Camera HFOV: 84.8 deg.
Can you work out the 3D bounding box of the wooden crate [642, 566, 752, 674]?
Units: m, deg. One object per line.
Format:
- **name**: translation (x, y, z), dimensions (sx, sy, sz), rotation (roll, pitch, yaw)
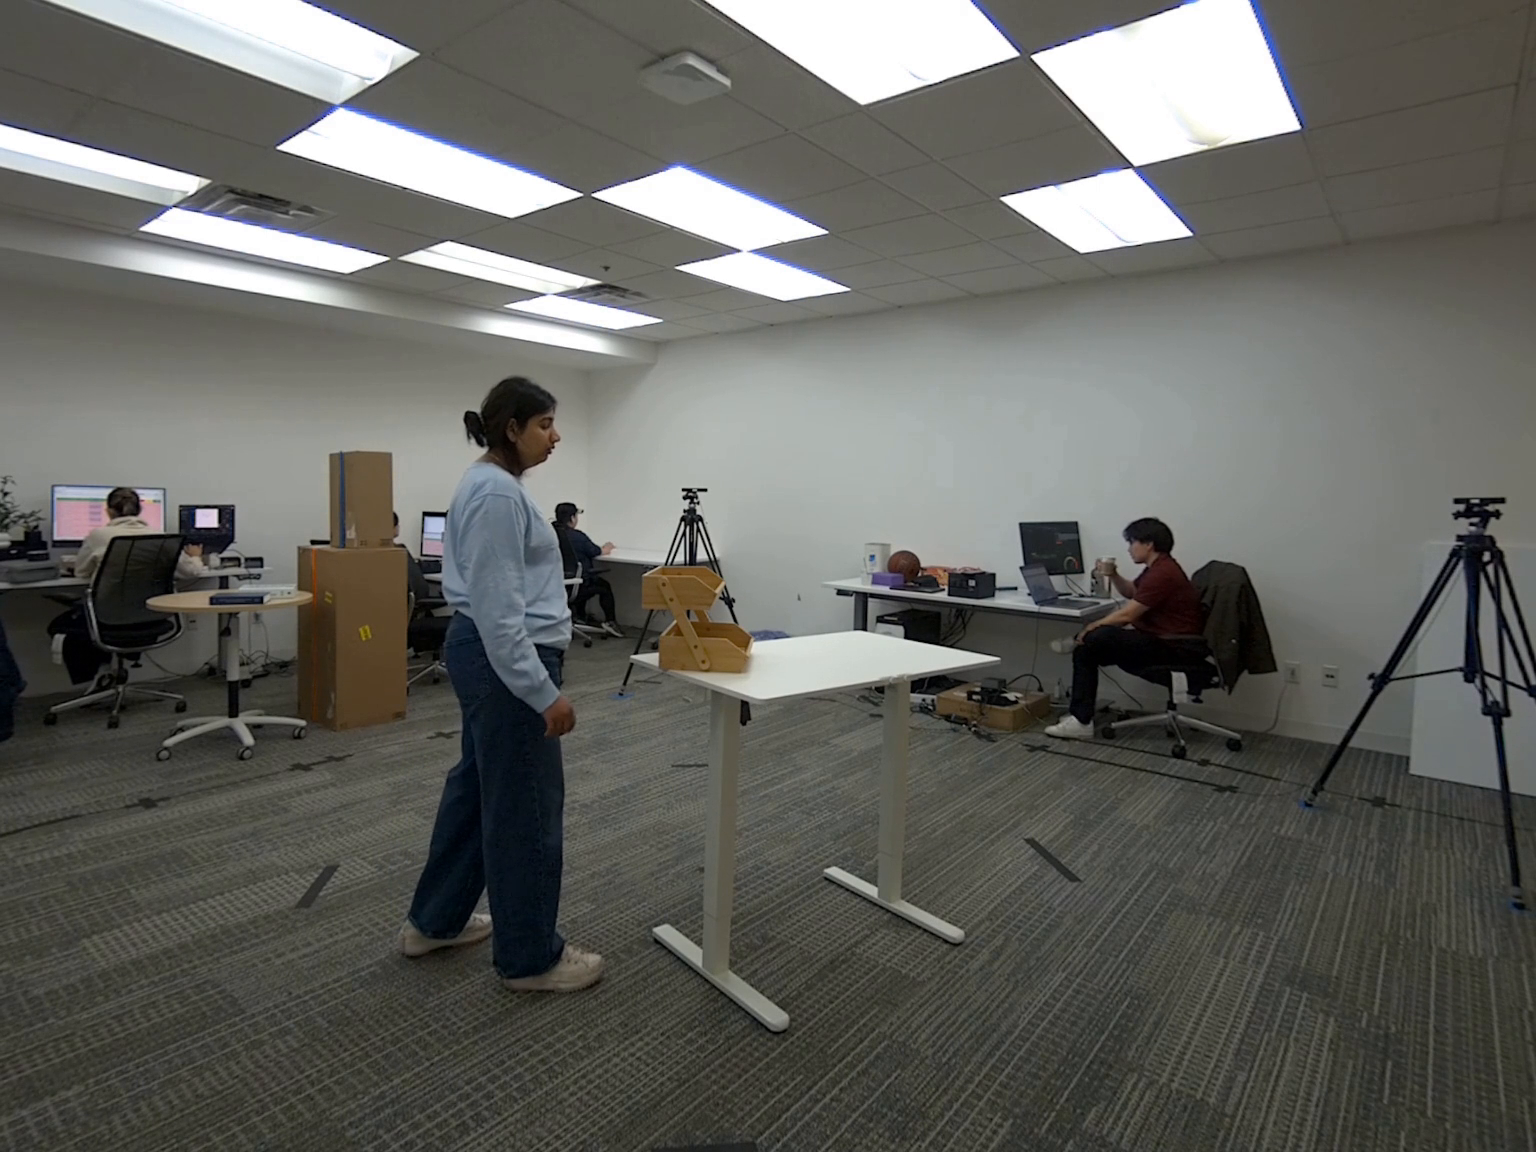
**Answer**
- **wooden crate**: translation (-0.196, 0.117, 2.480), dimensions (0.303, 0.272, 0.325), rotation (1, 6, 1)
